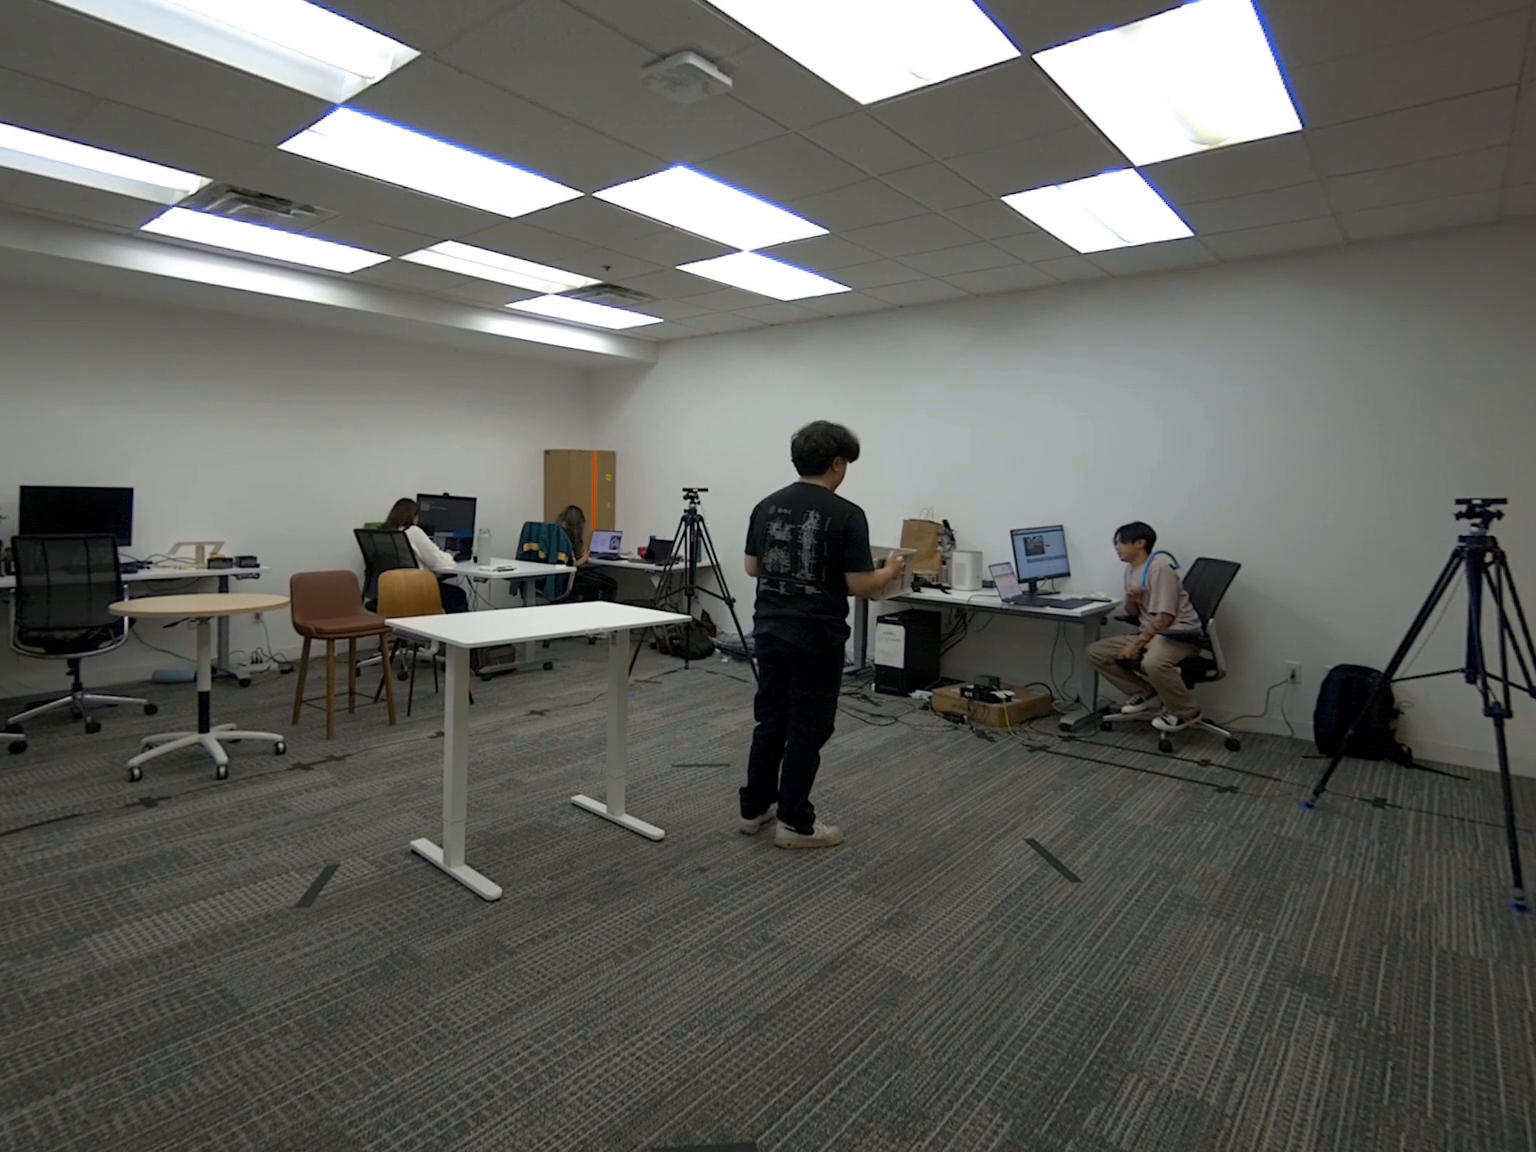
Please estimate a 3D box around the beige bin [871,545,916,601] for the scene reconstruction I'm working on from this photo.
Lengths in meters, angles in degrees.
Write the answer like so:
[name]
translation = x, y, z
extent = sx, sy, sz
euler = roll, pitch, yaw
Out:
[beige bin]
translation = 0.341, -0.030, 3.586
extent = 0.437, 0.188, 0.366
euler = 7, 8, 38
